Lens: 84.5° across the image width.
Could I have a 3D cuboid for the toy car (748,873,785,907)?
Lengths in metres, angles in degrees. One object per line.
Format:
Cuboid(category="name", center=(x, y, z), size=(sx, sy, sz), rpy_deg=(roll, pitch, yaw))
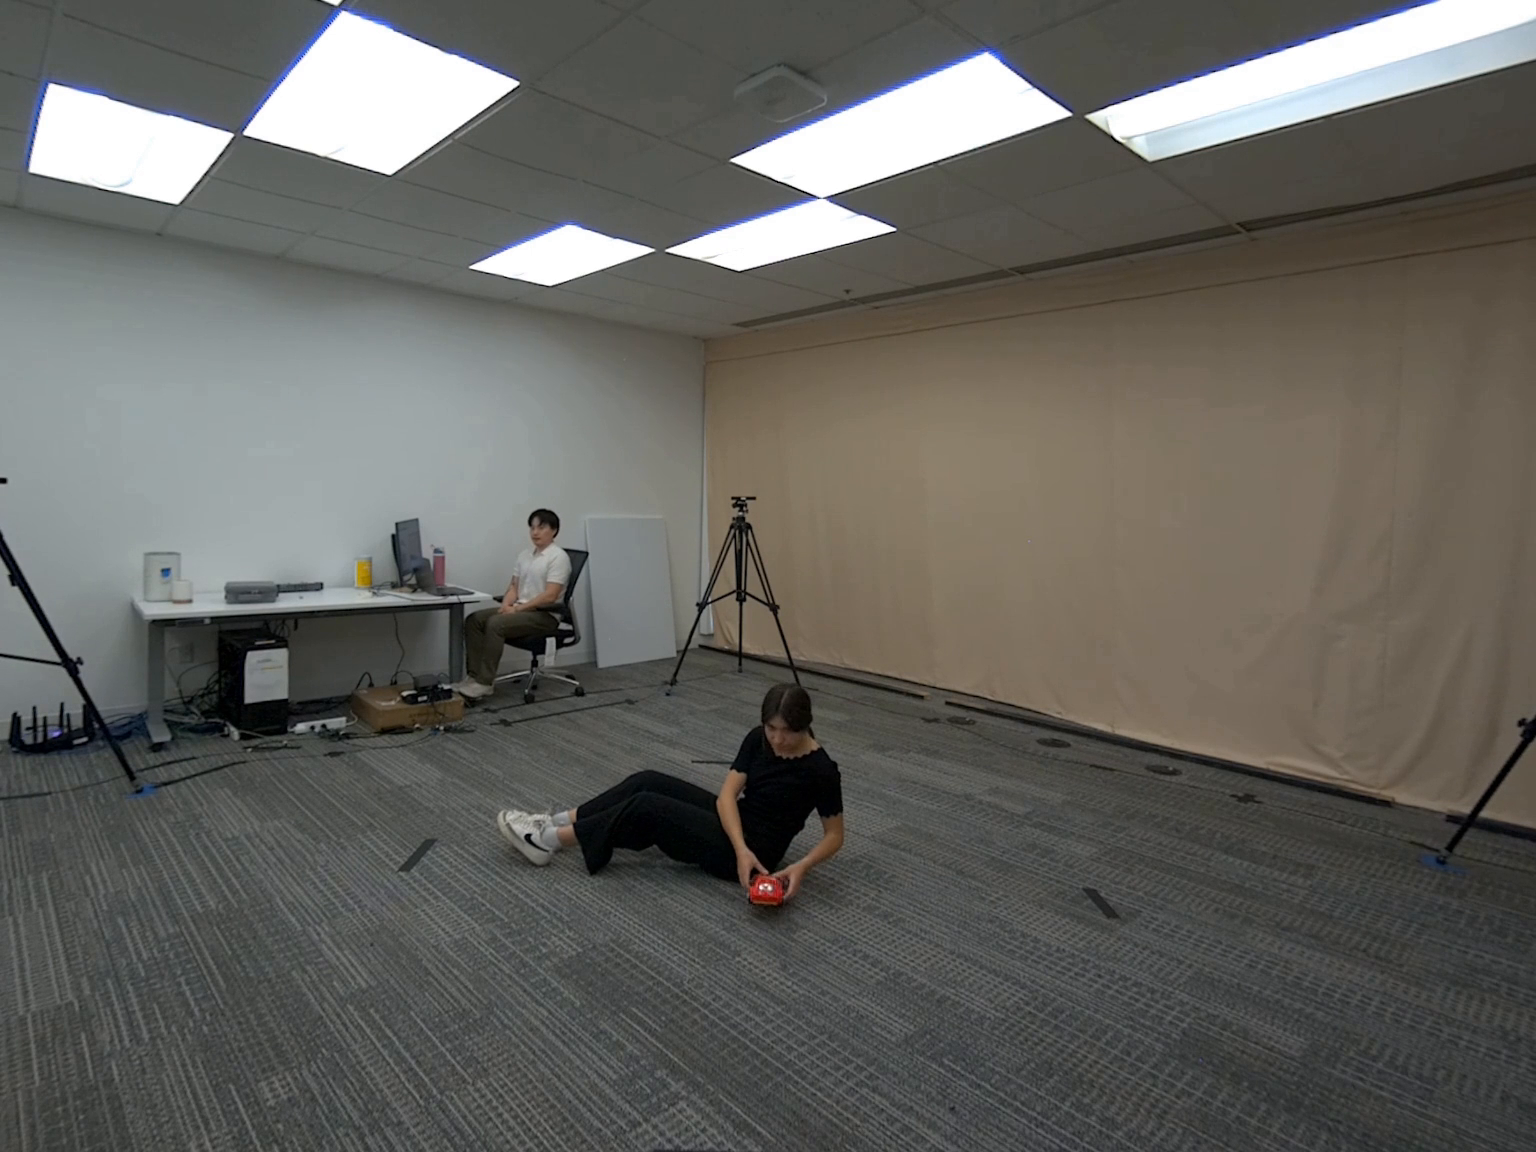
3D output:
Cuboid(category="toy car", center=(-0.023, 1.055, 2.846), size=(0.131, 0.084, 0.251), rpy_deg=(2, -14, 3))
